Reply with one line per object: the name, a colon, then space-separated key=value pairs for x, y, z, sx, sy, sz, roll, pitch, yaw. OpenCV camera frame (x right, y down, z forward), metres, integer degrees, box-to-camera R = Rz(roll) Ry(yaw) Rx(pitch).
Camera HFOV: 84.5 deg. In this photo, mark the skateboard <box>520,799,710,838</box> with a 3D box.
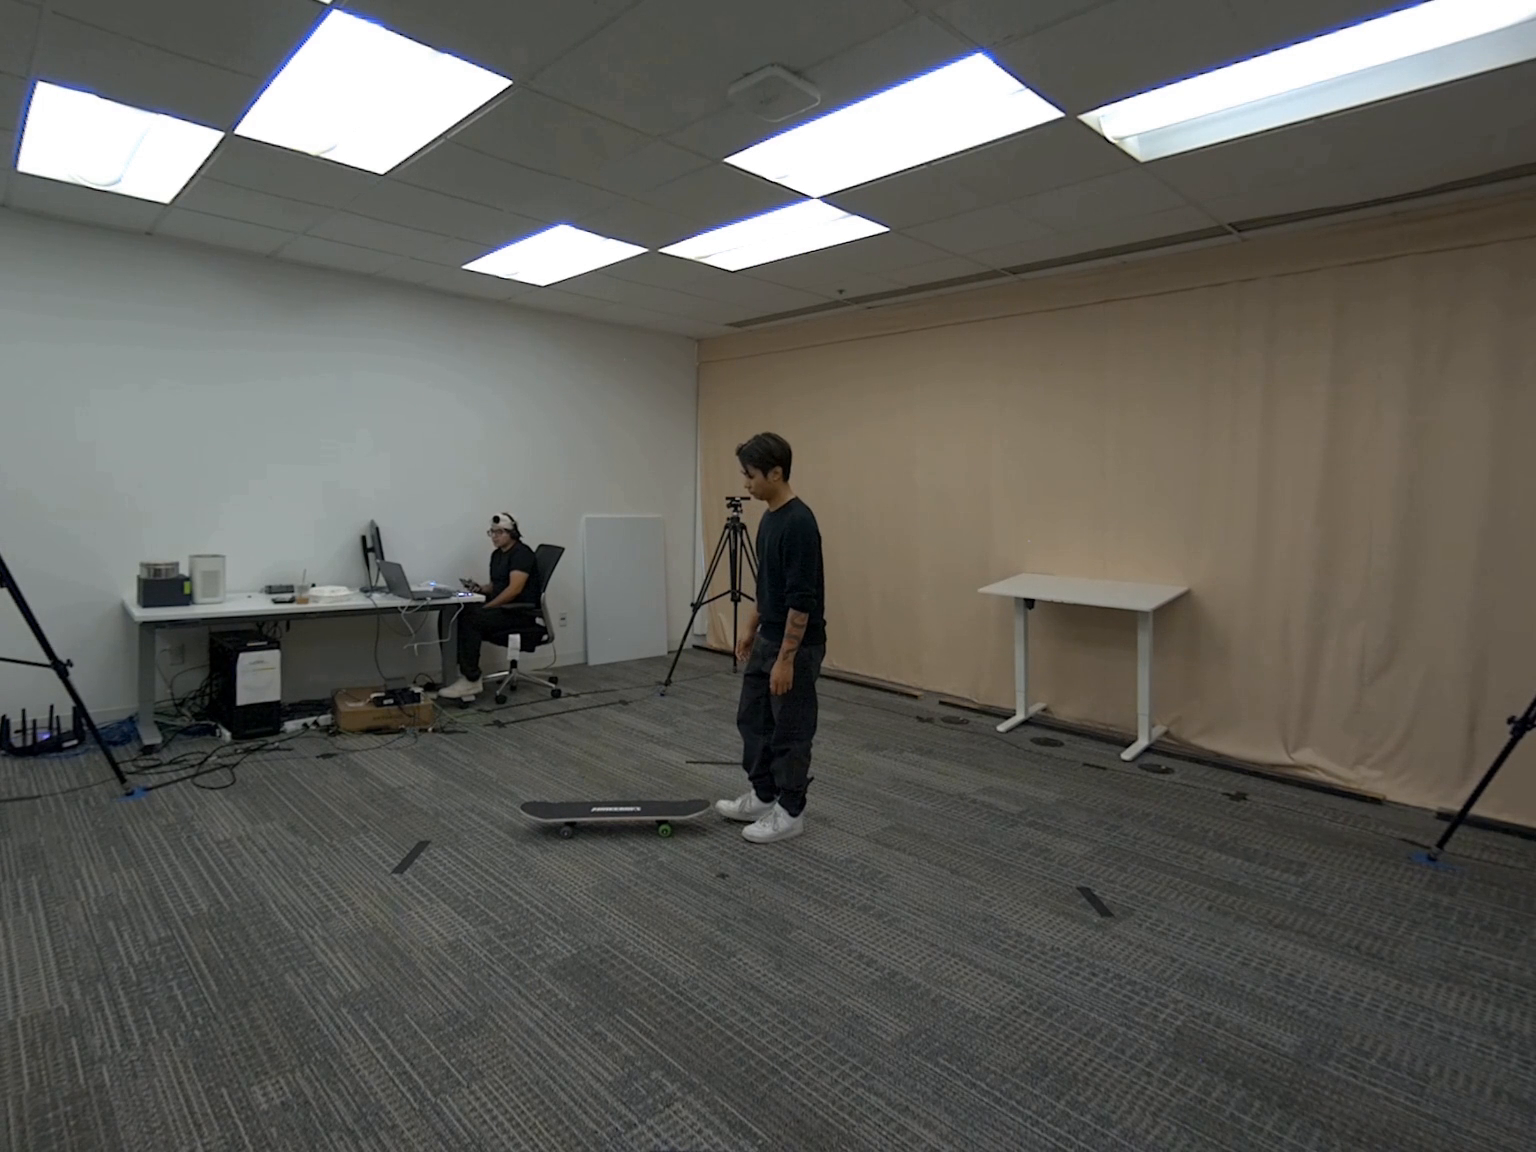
skateboard: x=-0.635 y=1.000 z=3.505 sx=0.781 sy=0.110 sz=0.195 roll=1 pitch=5 yaw=-6
